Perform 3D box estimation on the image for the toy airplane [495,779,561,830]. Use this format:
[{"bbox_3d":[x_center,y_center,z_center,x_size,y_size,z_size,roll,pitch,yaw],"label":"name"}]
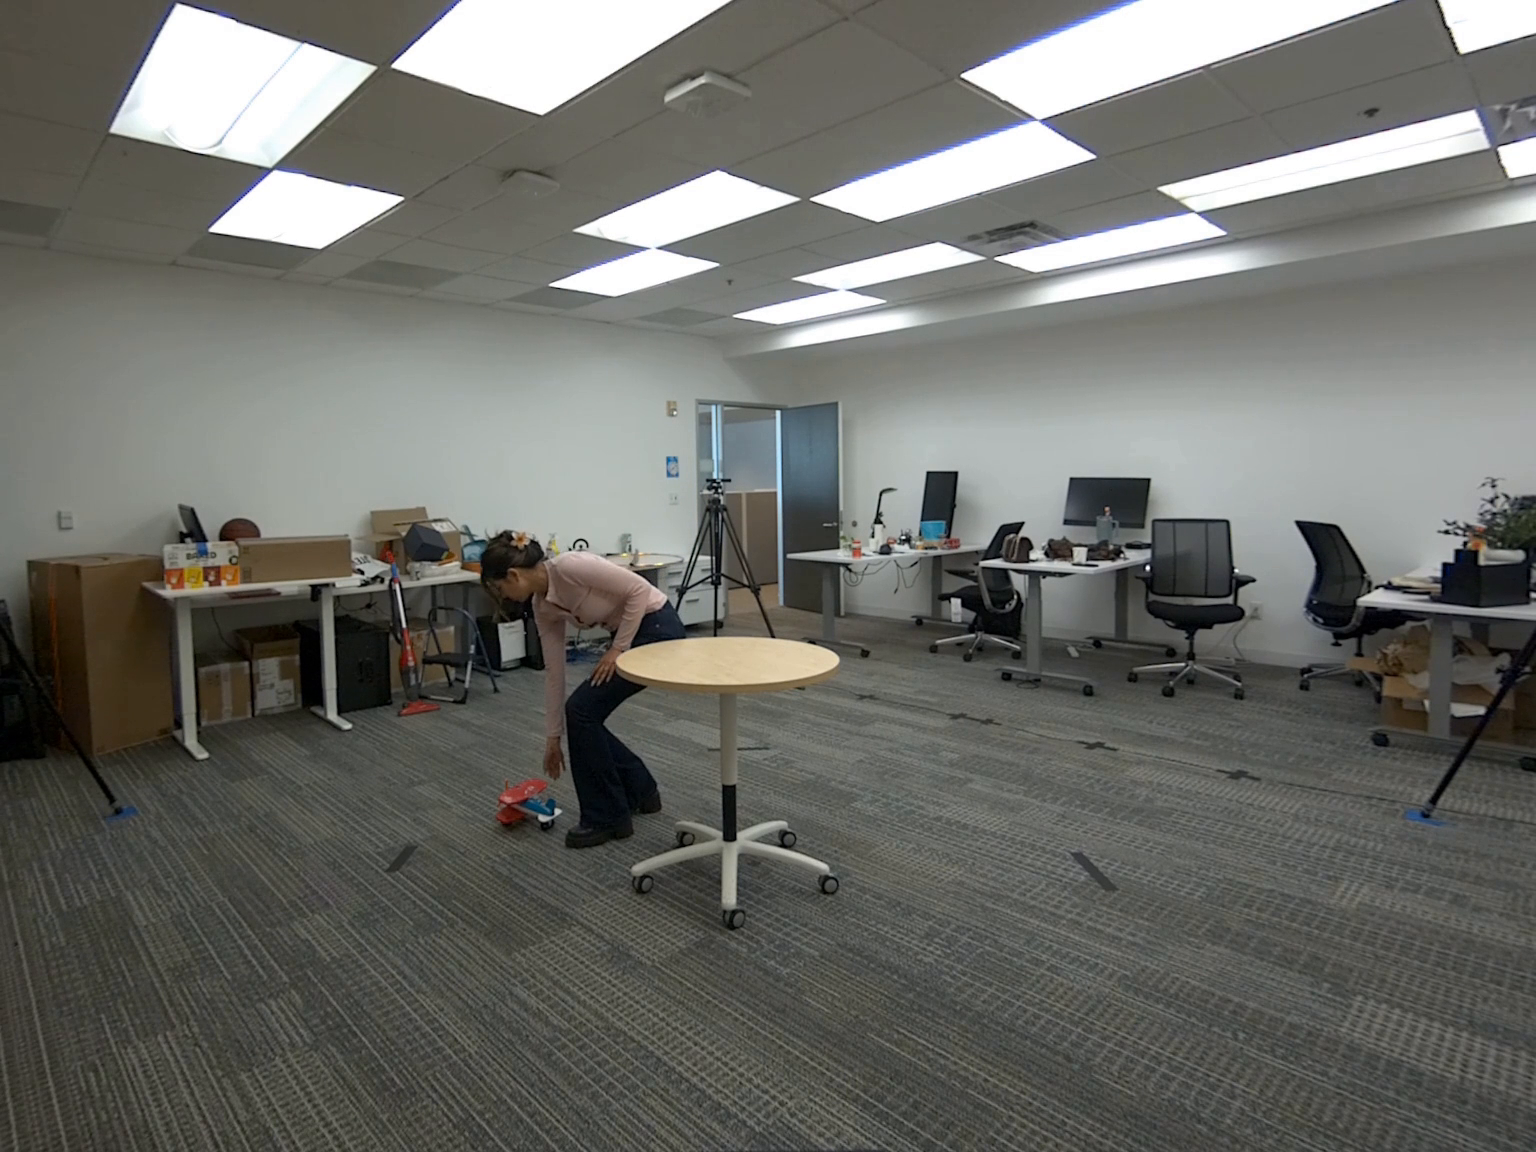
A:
[{"bbox_3d":[-0.964,0.942,3.513,0.259,0.156,0.252,-2,5,-2],"label":"toy airplane"}]
